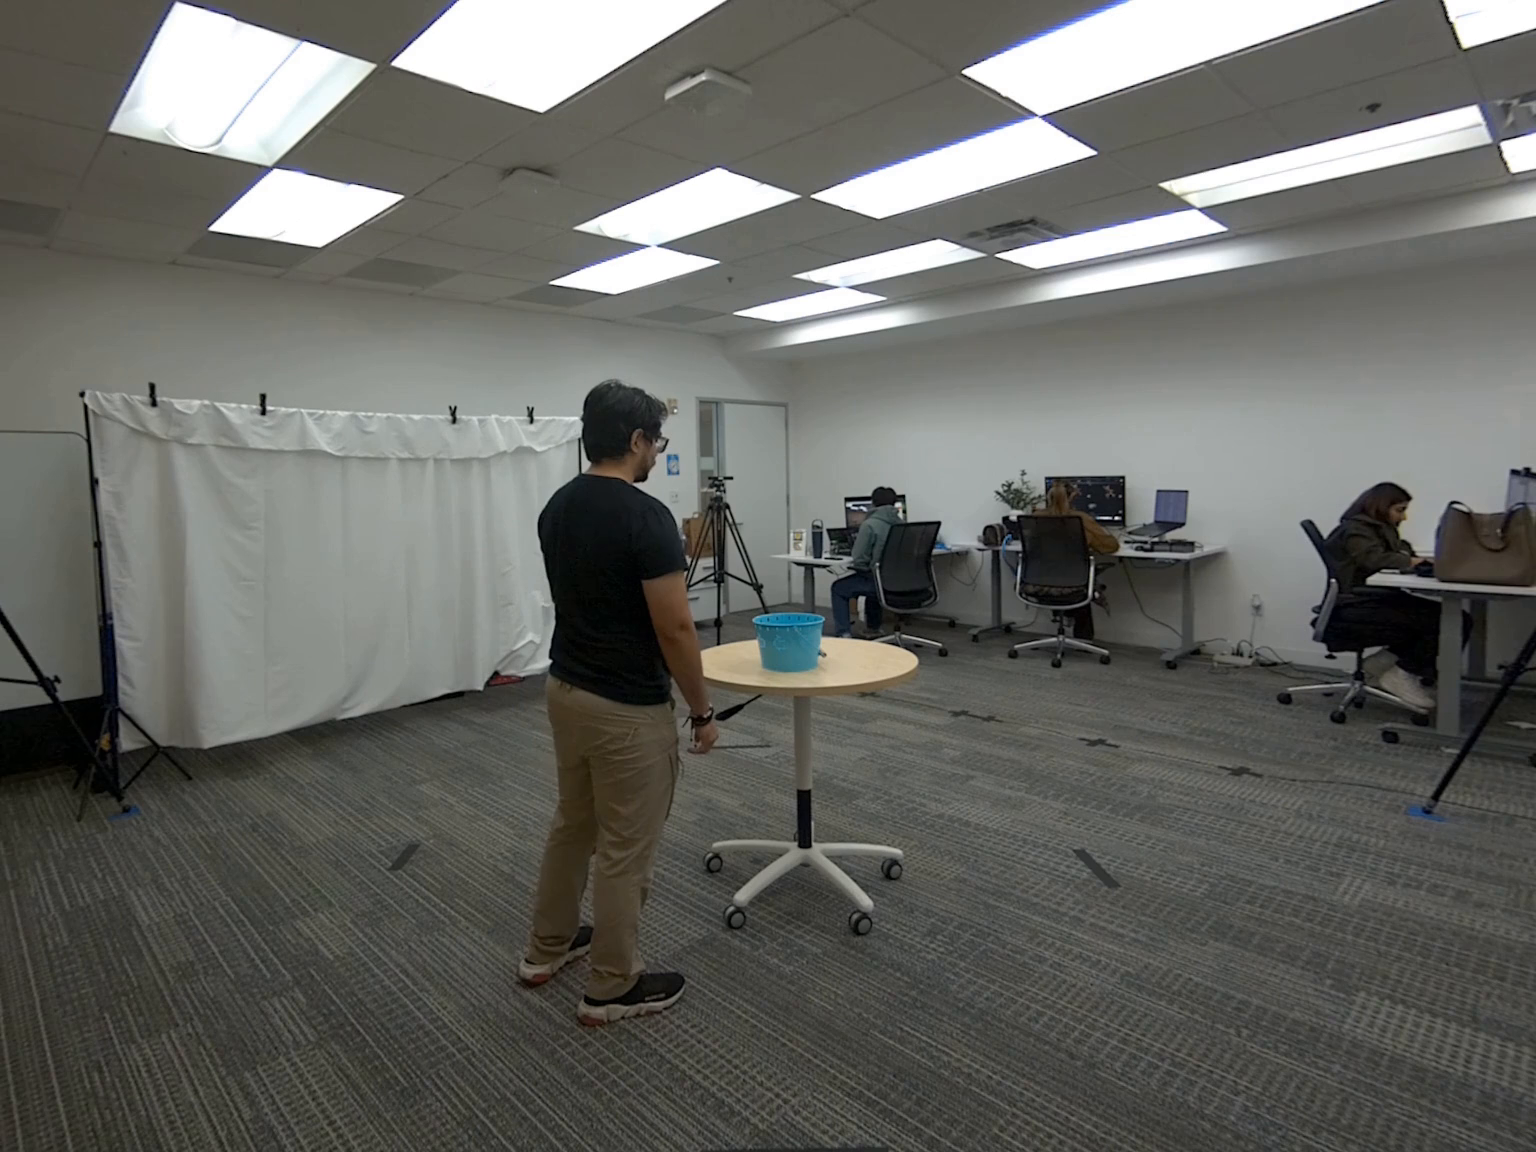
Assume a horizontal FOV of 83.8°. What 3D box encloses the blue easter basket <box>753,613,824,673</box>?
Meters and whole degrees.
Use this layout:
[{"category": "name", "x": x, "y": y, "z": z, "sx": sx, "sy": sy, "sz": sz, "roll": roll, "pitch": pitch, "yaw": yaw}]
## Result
[{"category": "blue easter basket", "x": 0.077, "y": 0.216, "z": 2.760, "sx": 0.243, "sy": 0.155, "sz": 0.245, "roll": -2, "pitch": 6, "yaw": -1}]
